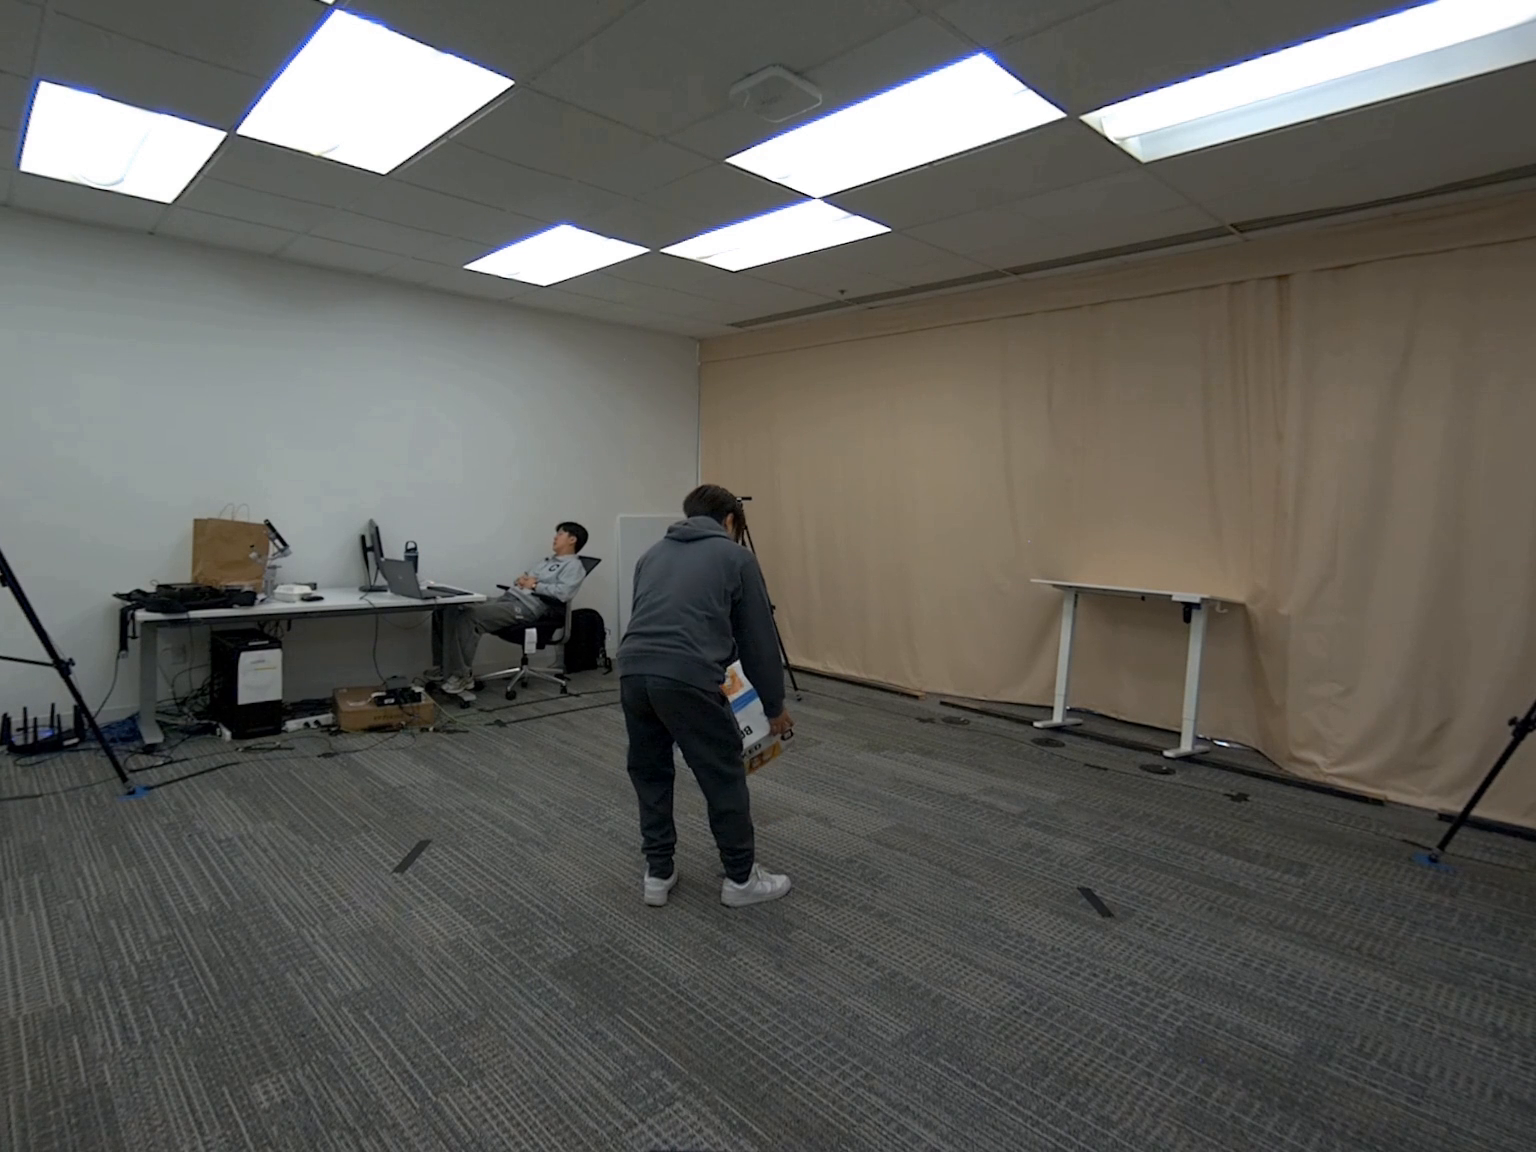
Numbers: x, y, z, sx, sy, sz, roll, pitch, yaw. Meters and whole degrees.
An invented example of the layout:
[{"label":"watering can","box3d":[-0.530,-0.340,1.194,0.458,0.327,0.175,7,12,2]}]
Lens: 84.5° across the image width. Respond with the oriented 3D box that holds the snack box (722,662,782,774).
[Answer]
[{"label":"snack box","box3d":[-0.161,0.592,3.241,0.404,0.200,0.351,-32,51,-8]}]
